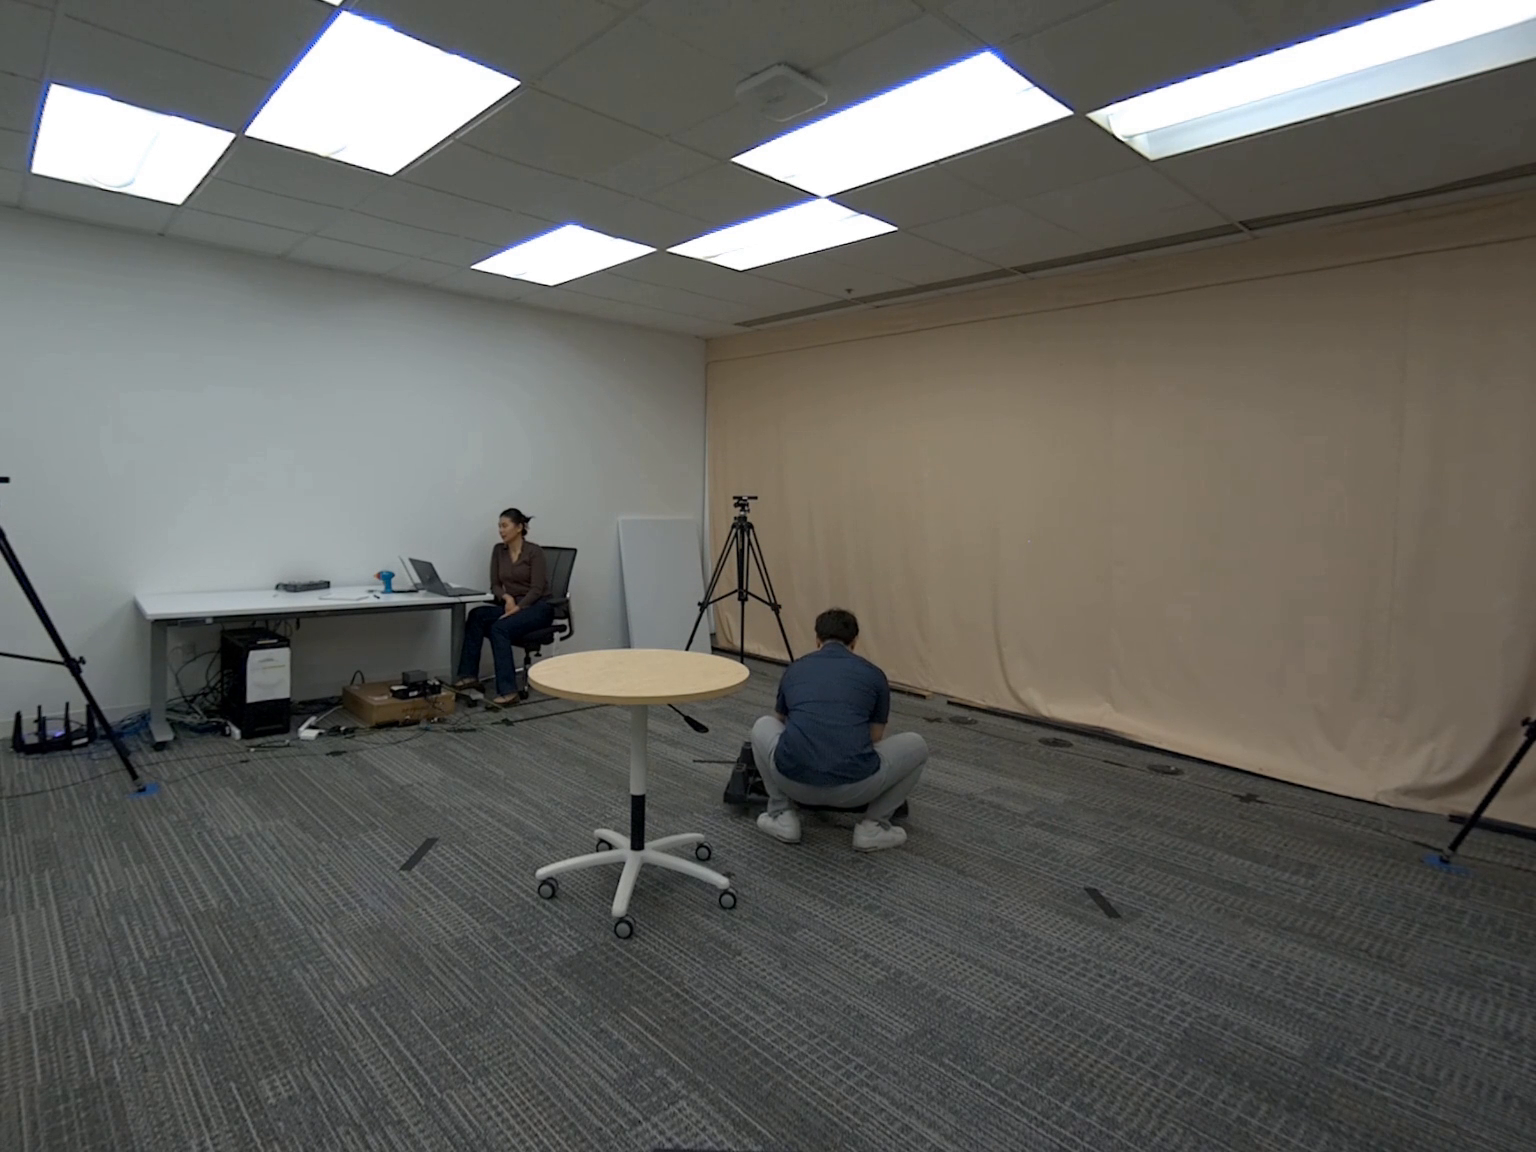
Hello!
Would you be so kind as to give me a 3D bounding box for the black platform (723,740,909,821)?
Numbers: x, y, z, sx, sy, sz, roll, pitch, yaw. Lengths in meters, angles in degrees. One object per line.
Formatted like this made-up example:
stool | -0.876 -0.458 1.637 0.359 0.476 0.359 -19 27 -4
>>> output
black platform | 0.221 0.924 3.916 0.810 0.143 0.604 2 5 6
